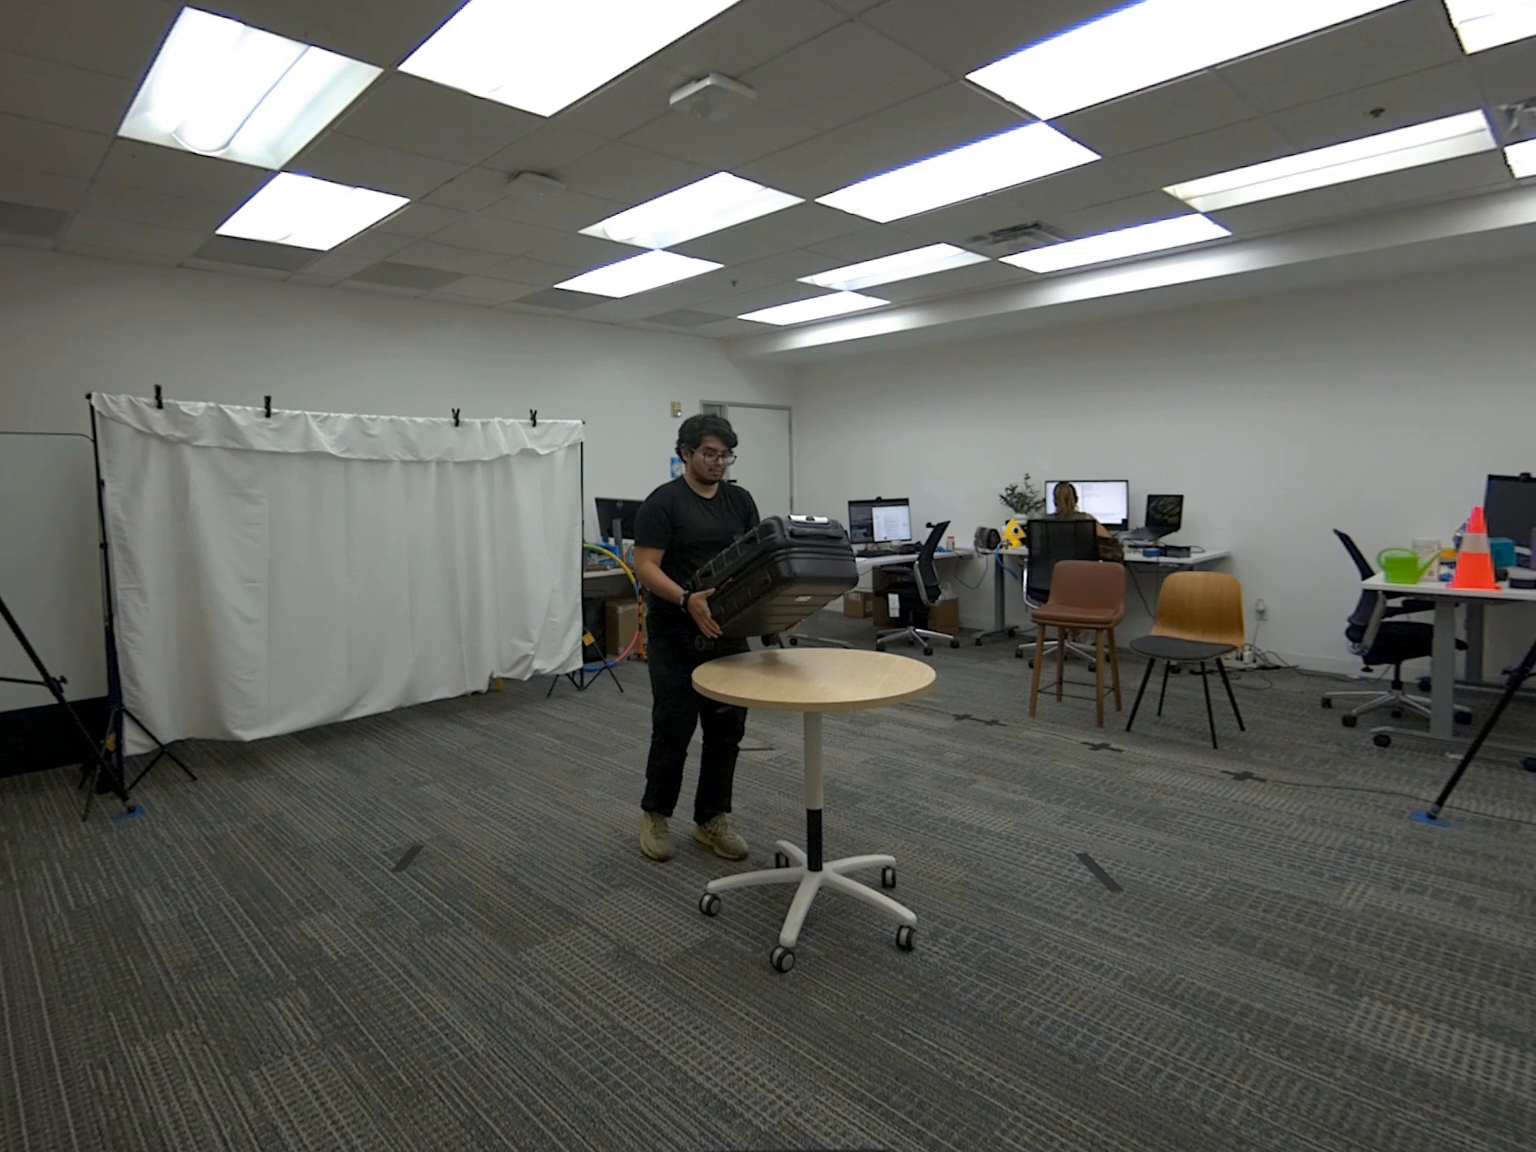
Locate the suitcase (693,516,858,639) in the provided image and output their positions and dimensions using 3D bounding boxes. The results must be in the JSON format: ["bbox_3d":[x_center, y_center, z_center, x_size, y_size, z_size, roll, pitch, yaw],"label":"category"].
[{"bbox_3d":[0.011,0.015,2.853,0.364,0.254,0.553,3,-27,-38],"label":"suitcase"}]
